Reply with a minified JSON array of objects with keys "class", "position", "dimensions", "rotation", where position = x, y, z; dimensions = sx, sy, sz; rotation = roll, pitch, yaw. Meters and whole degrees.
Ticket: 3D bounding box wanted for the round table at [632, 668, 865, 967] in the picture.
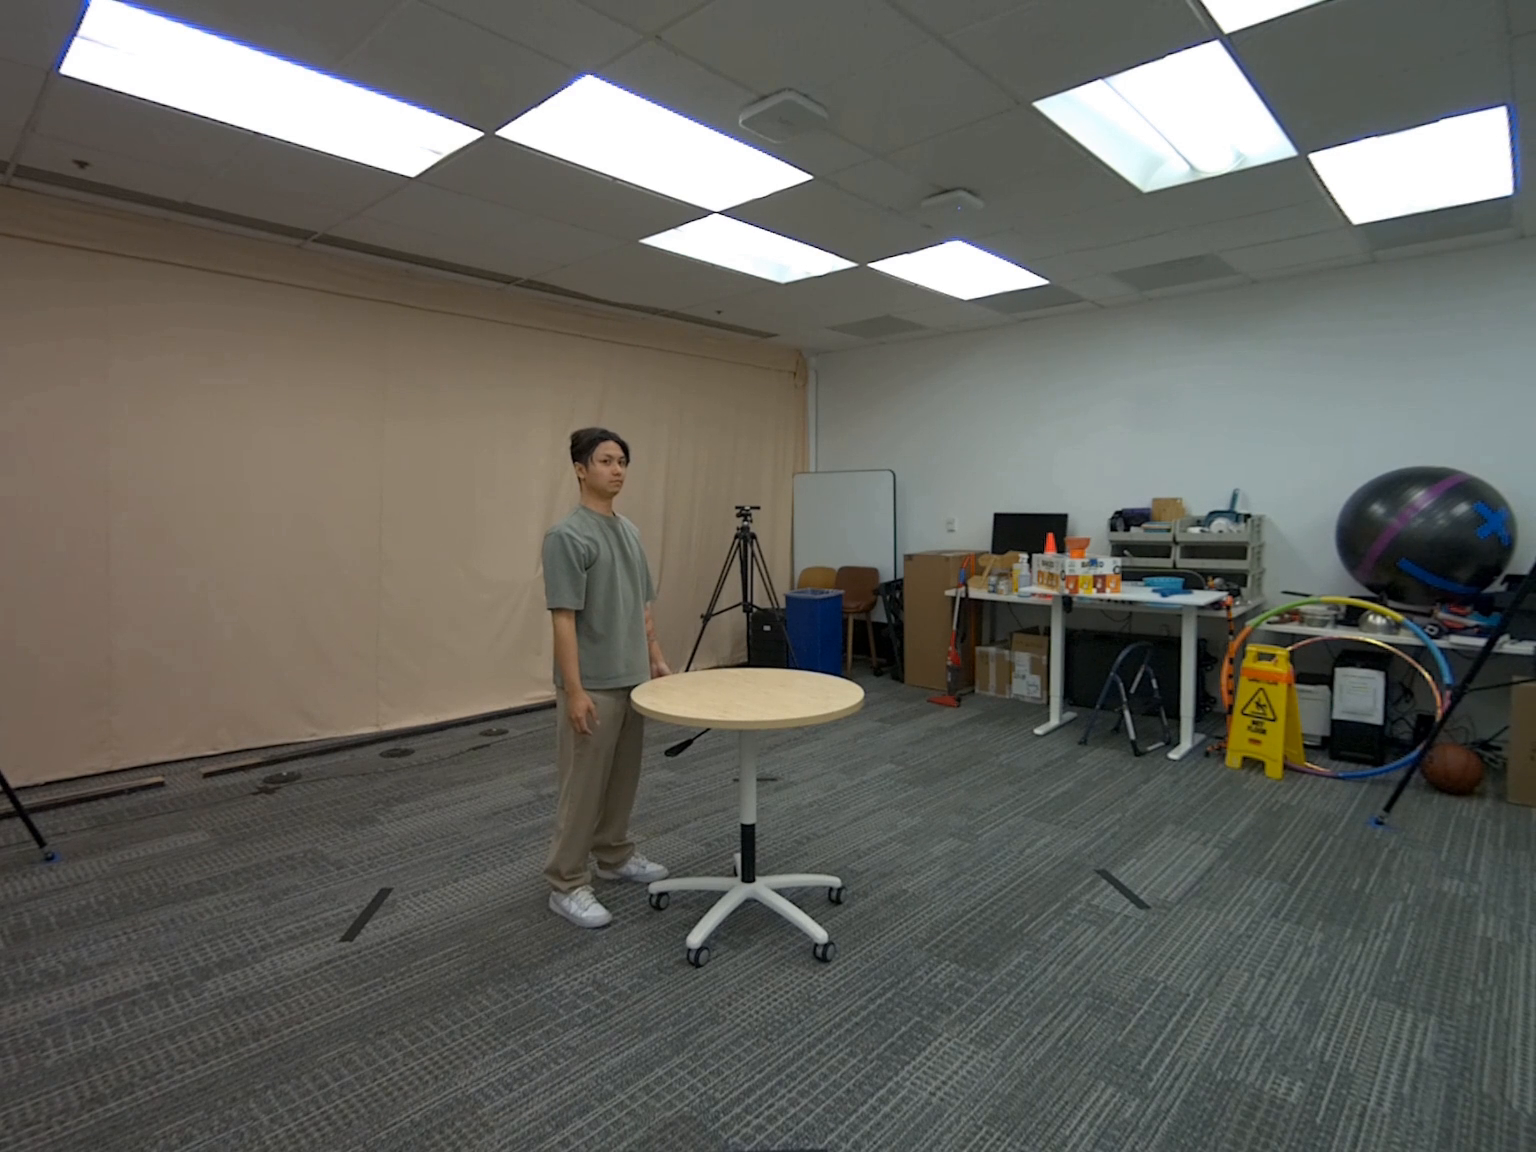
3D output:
[{"class":"round table","position":[-0.056,0.769,2.815],"dimensions":[0.784,0.784,0.788],"rotation":[-1,4,-2]}]
